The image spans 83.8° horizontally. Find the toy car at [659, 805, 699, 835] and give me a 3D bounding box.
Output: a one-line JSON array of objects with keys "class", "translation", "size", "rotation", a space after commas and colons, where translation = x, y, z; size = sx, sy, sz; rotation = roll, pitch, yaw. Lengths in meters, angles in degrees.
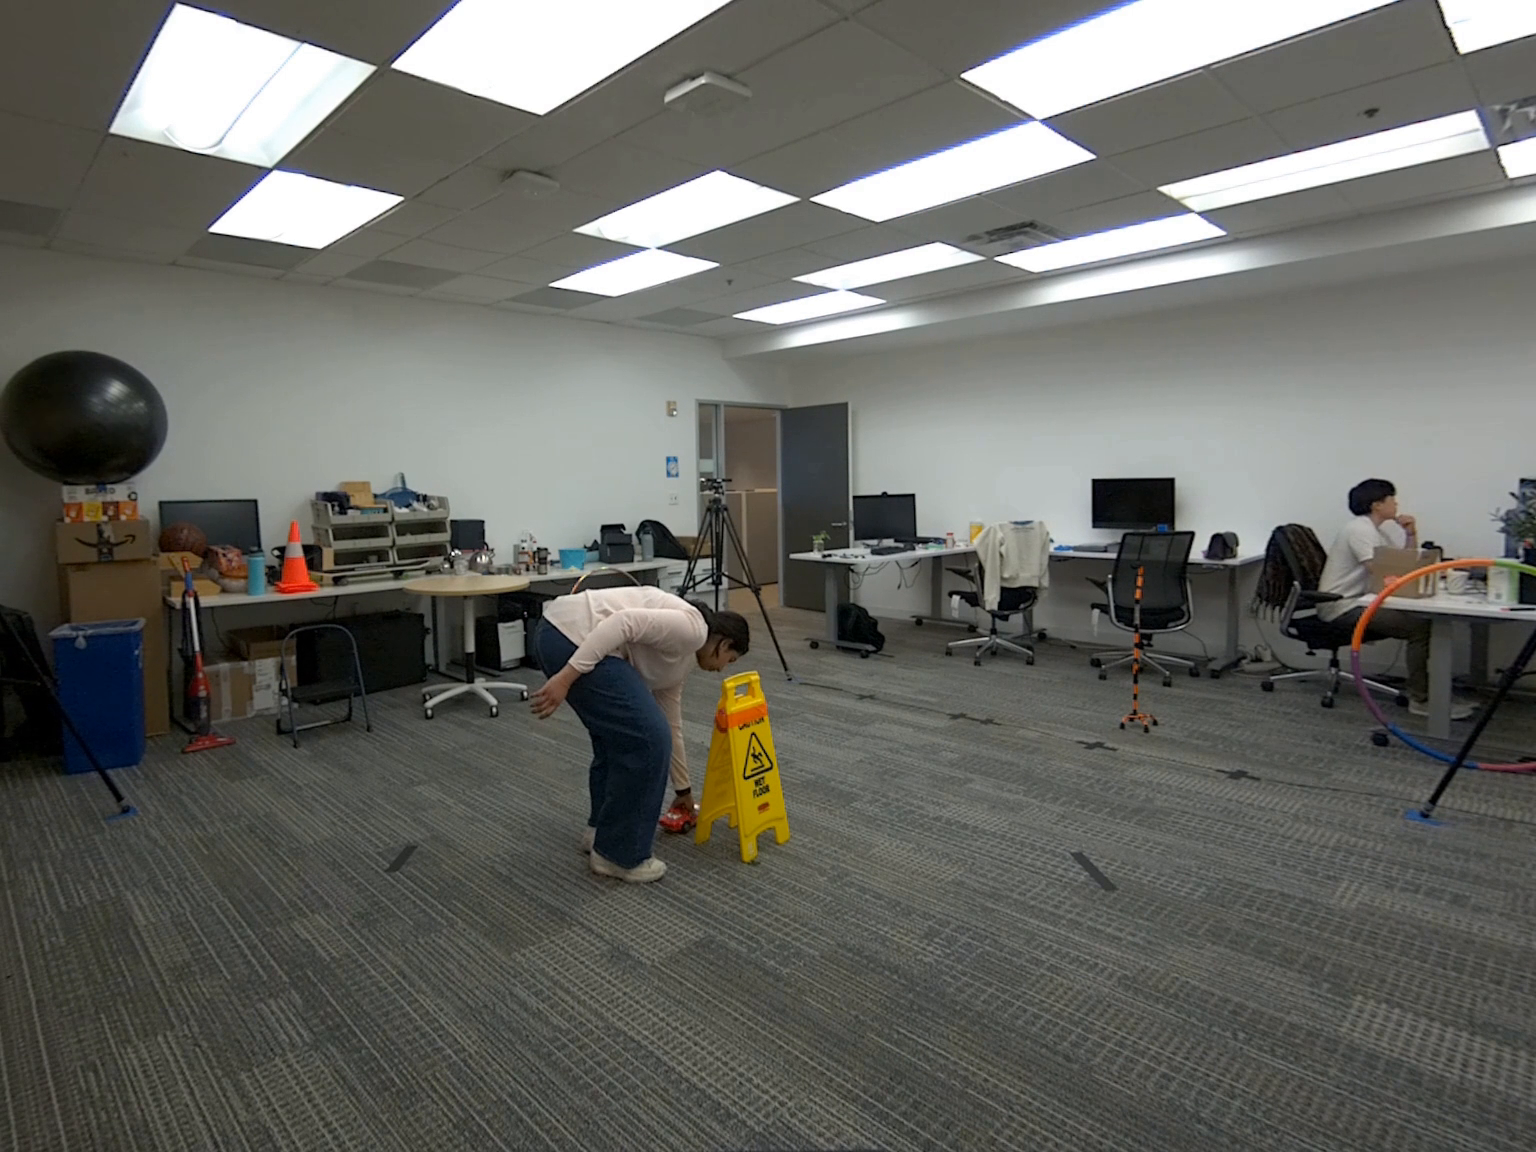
[{"class": "toy car", "translation": [-0.333, 0.979, 3.458], "size": [0.134, 0.083, 0.246], "rotation": [4, -2, 41]}]
